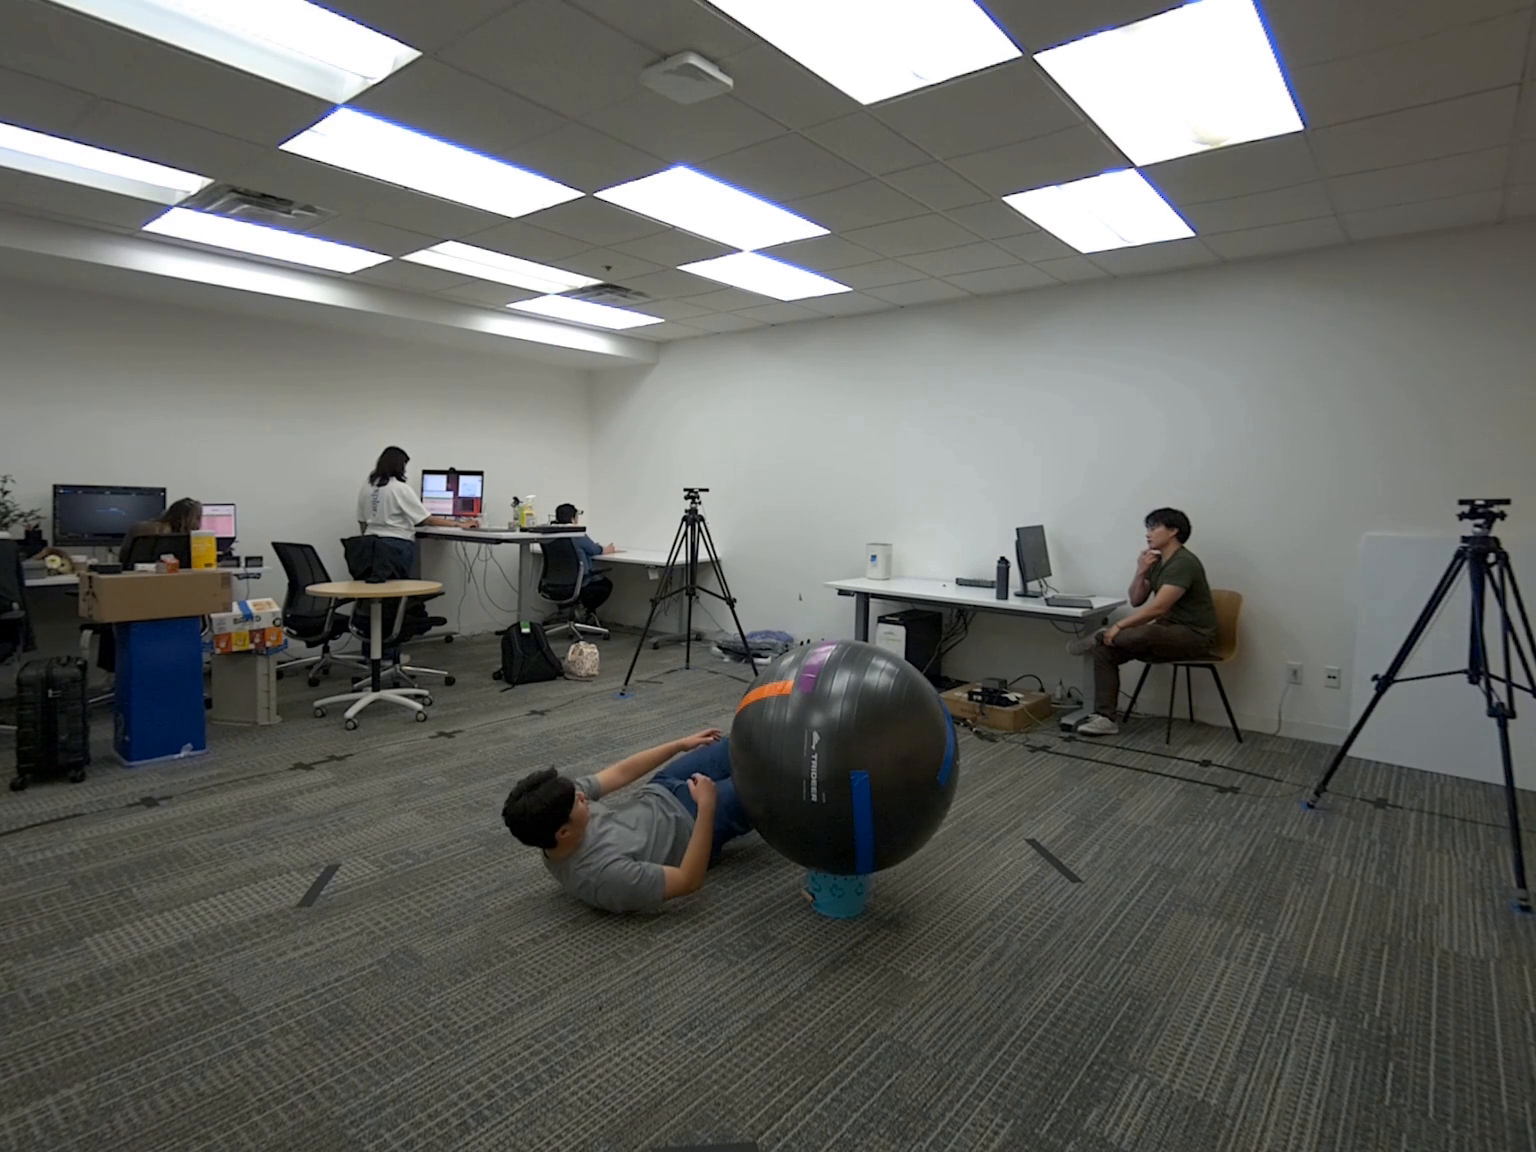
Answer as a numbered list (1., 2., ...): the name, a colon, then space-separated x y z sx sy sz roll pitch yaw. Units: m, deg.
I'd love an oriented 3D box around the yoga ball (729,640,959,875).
1. yoga ball: 0.237 0.591 2.840 0.757 0.756 0.762 1 4 -2
